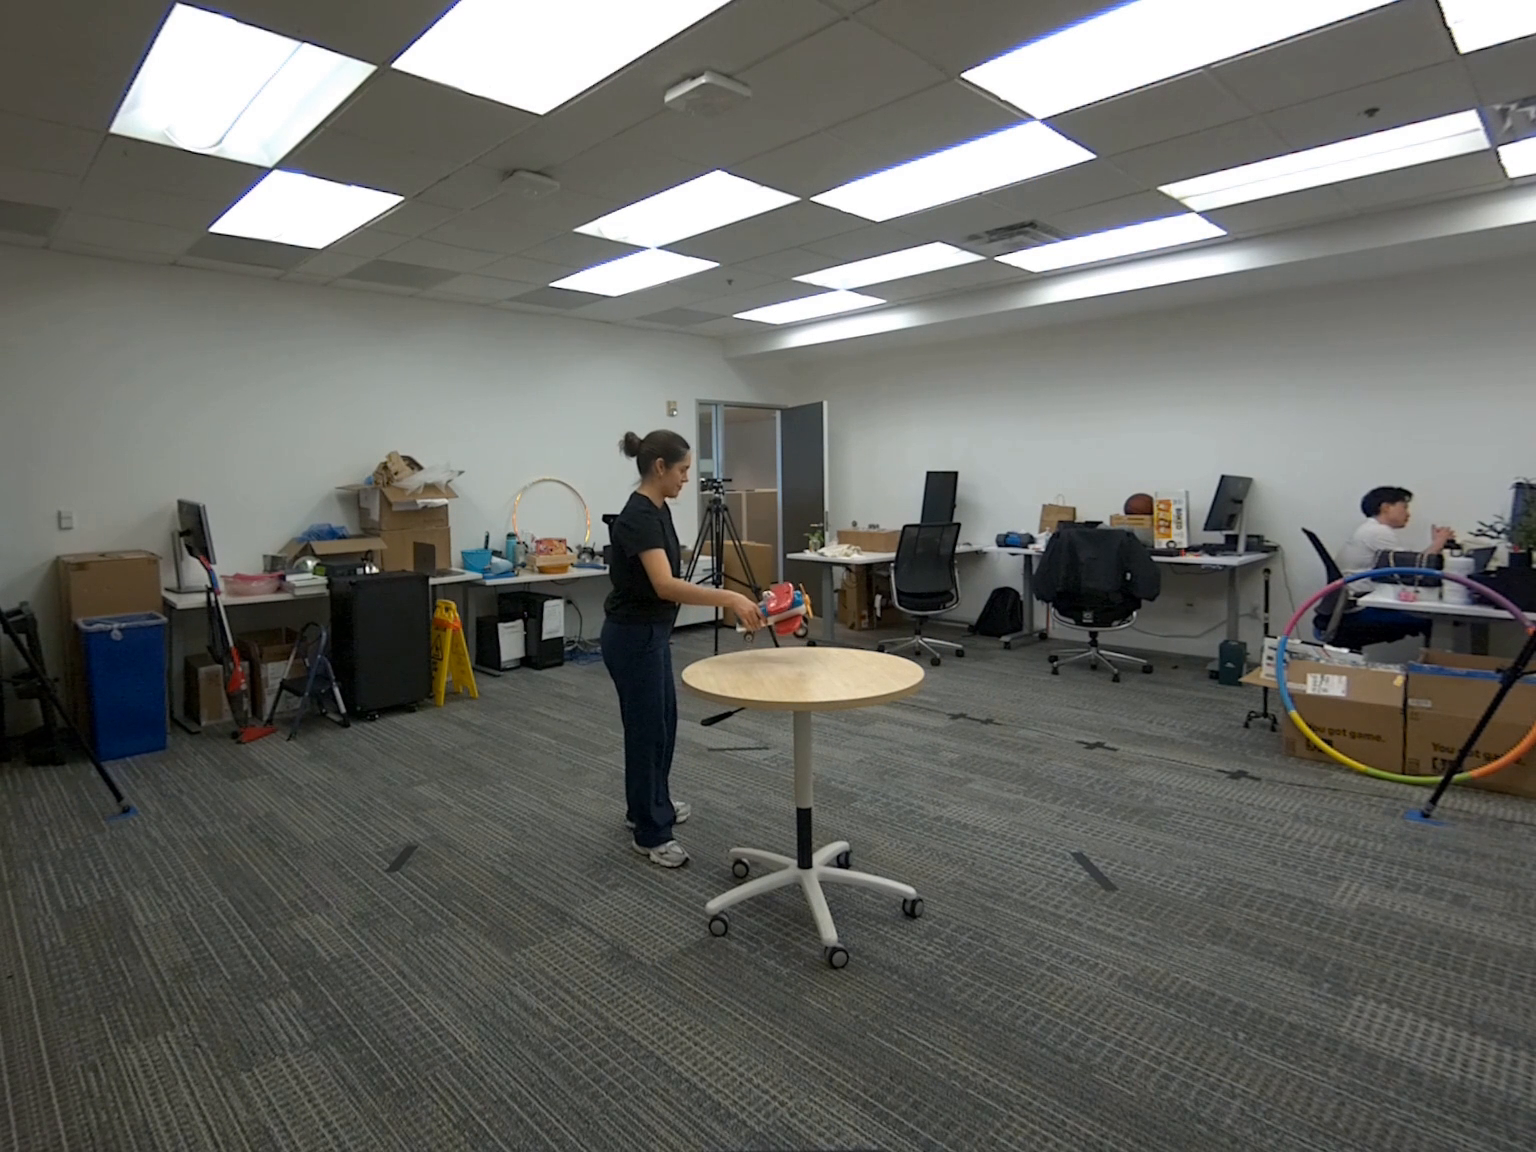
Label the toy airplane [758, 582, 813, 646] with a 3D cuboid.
[{"bbox_3d":[0.017,0.139,2.873,0.255,0.154,0.258,-13,15,-23],"label":"toy airplane"}]
